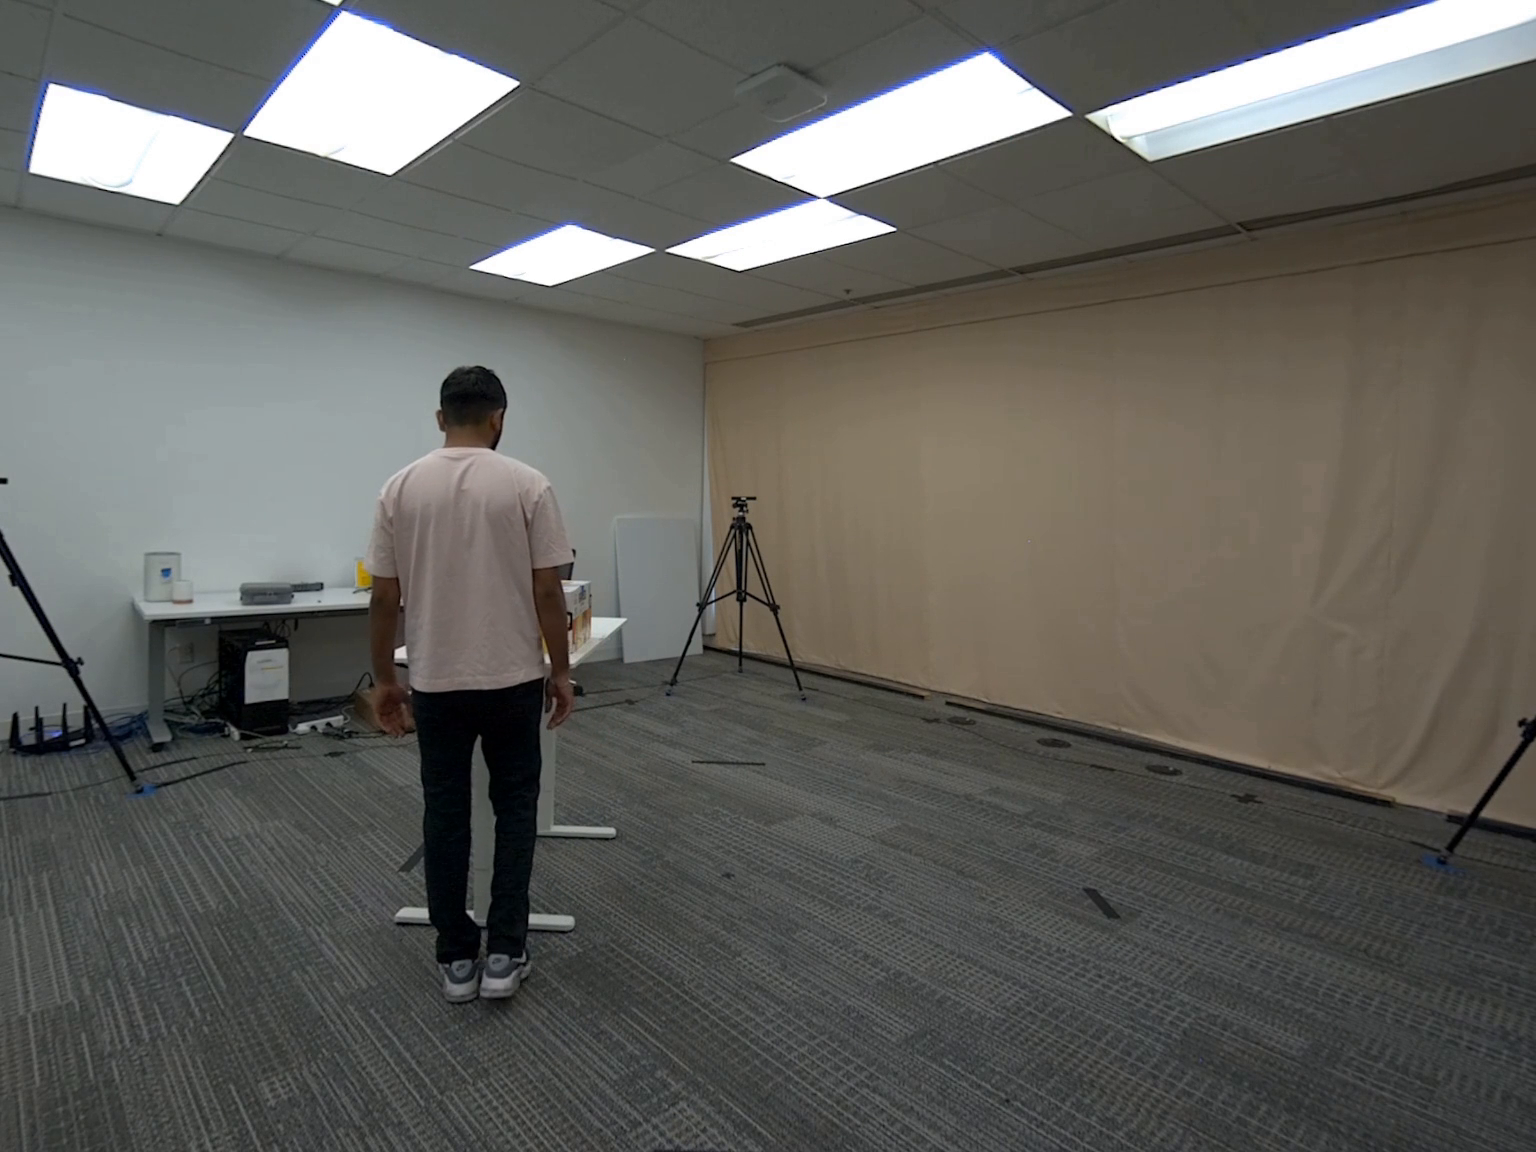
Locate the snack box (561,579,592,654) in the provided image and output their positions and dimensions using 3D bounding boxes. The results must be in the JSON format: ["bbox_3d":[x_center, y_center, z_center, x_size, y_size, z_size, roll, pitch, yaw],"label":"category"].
[{"bbox_3d":[-0.832,0.132,2.842,0.405,0.205,0.341,1,4,-2],"label":"snack box"}]
